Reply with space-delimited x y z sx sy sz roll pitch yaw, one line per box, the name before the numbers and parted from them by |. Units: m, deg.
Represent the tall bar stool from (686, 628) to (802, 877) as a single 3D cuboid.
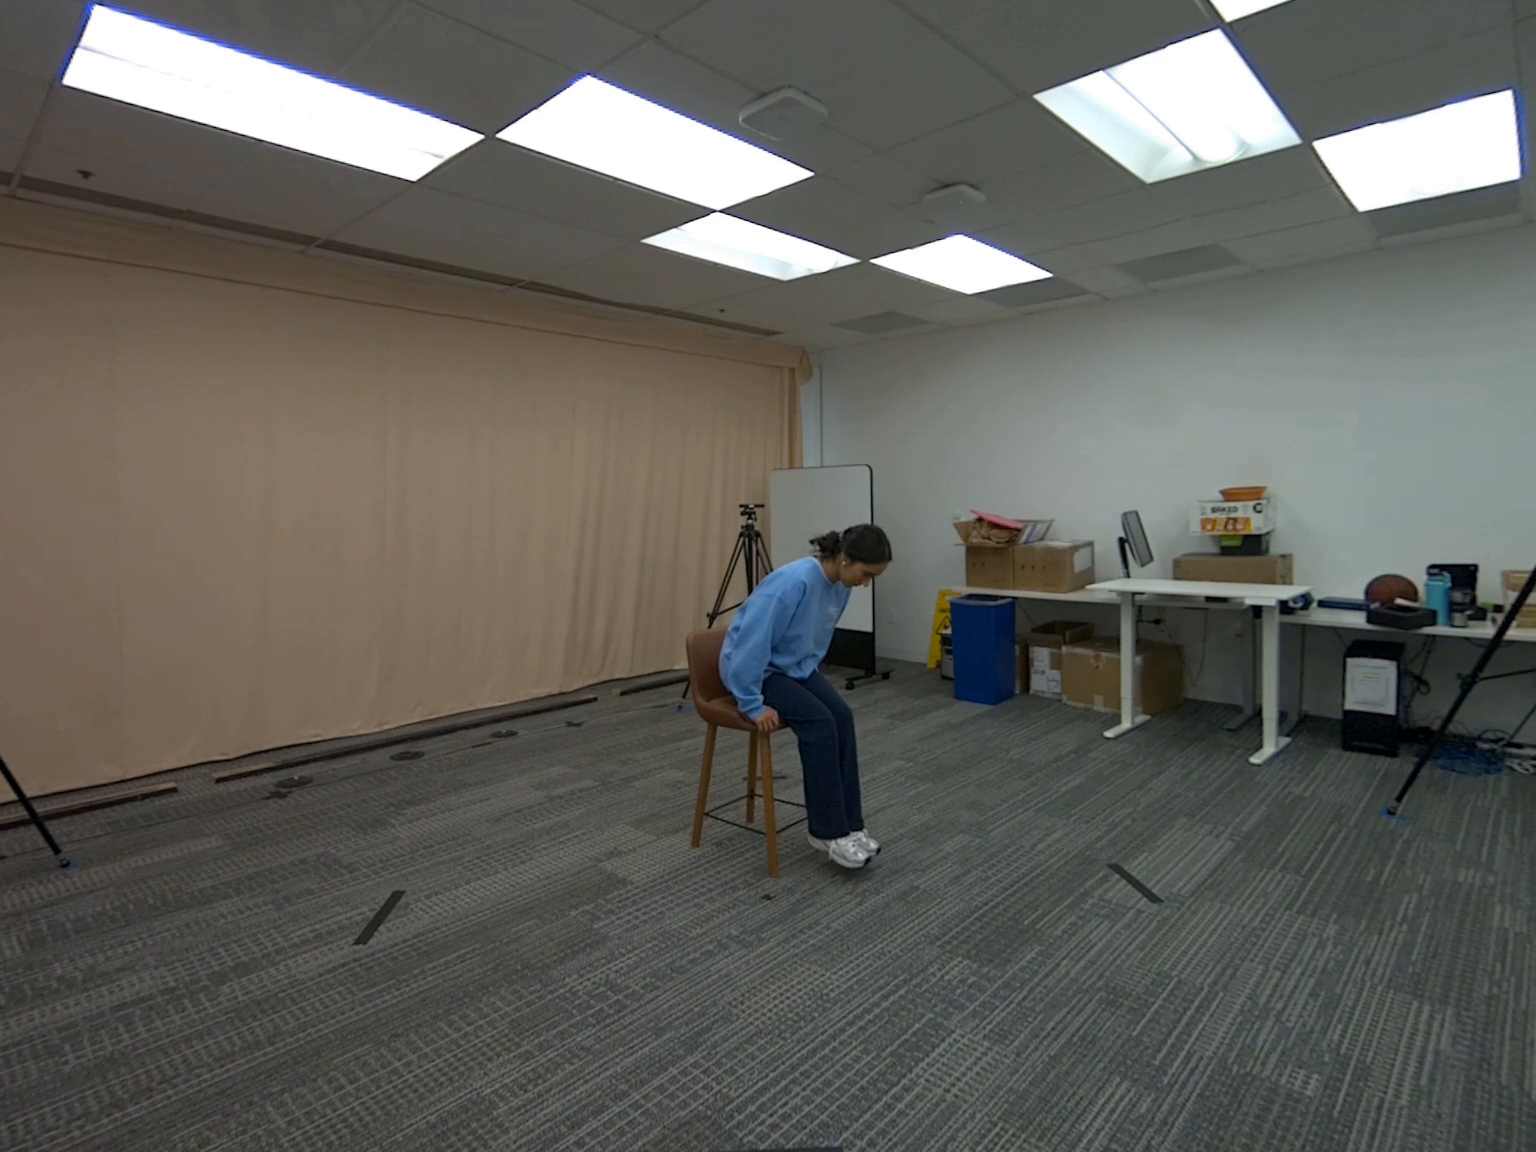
tall bar stool | -0.038 0.666 3.423 0.482 0.888 0.443 -1 3 41
